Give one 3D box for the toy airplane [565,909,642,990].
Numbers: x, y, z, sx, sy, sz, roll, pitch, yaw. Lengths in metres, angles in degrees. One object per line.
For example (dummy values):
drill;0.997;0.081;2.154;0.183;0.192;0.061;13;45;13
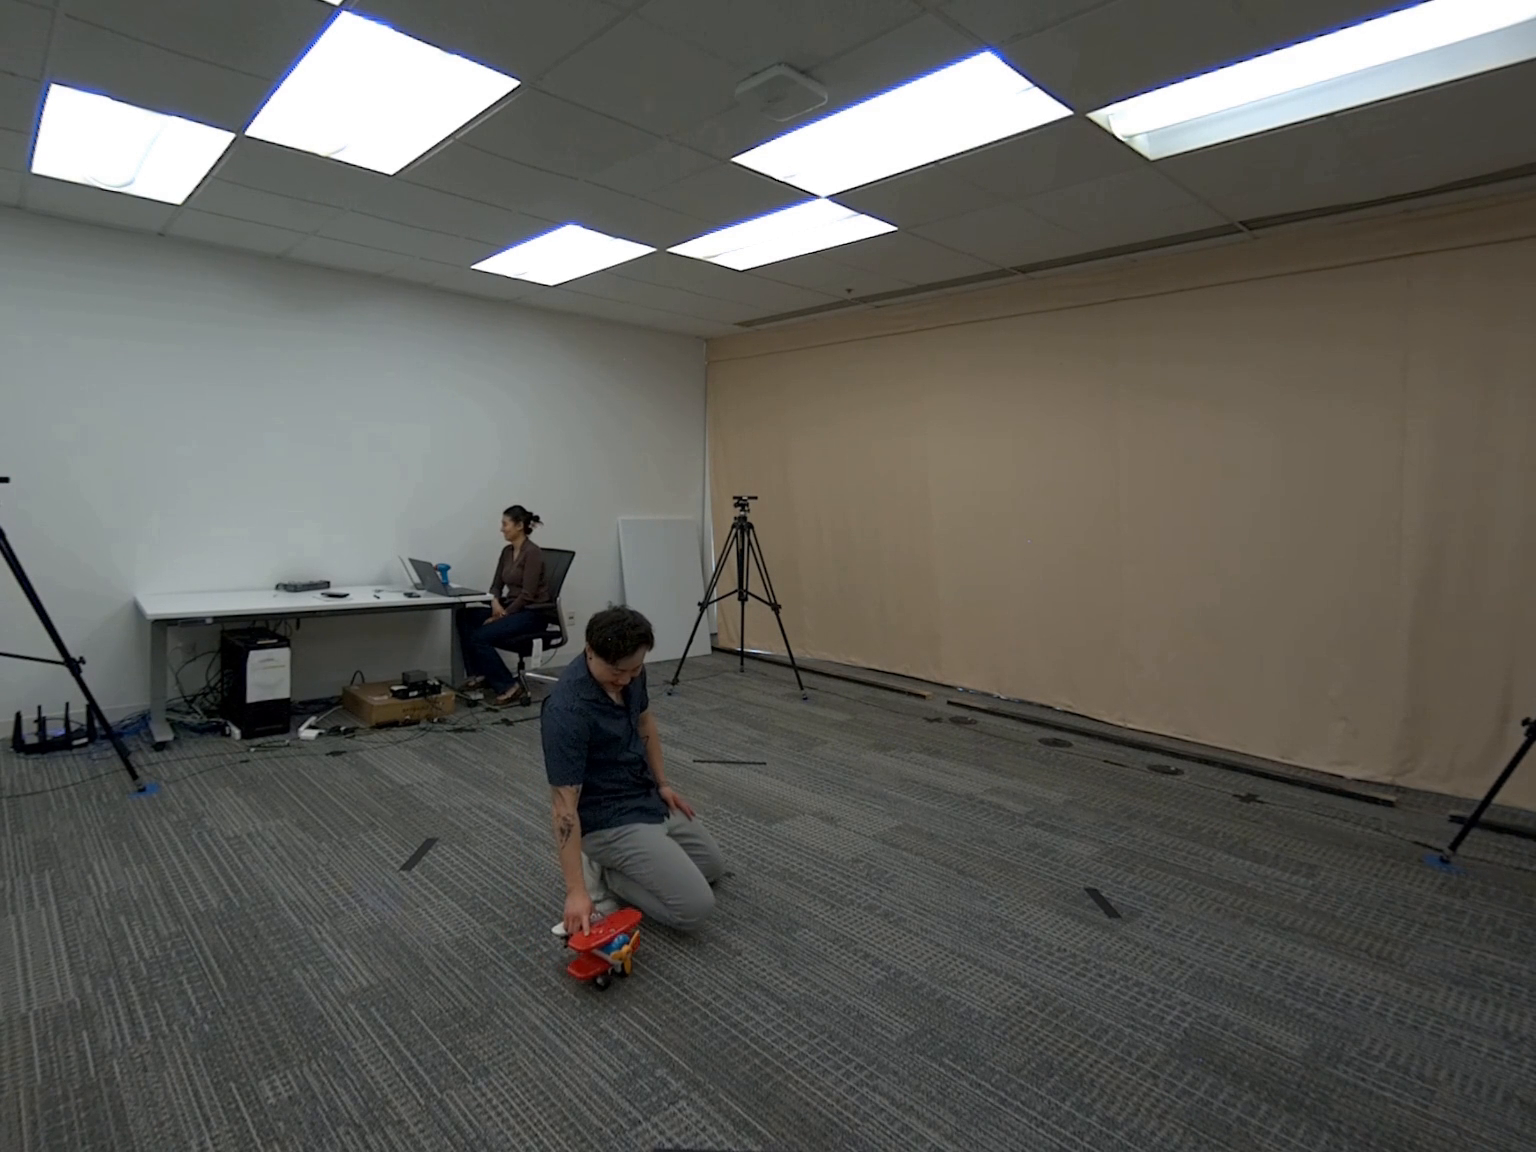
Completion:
toy airplane;-0.517;1.068;2.418;0.261;0.155;0.251;16;15;5
